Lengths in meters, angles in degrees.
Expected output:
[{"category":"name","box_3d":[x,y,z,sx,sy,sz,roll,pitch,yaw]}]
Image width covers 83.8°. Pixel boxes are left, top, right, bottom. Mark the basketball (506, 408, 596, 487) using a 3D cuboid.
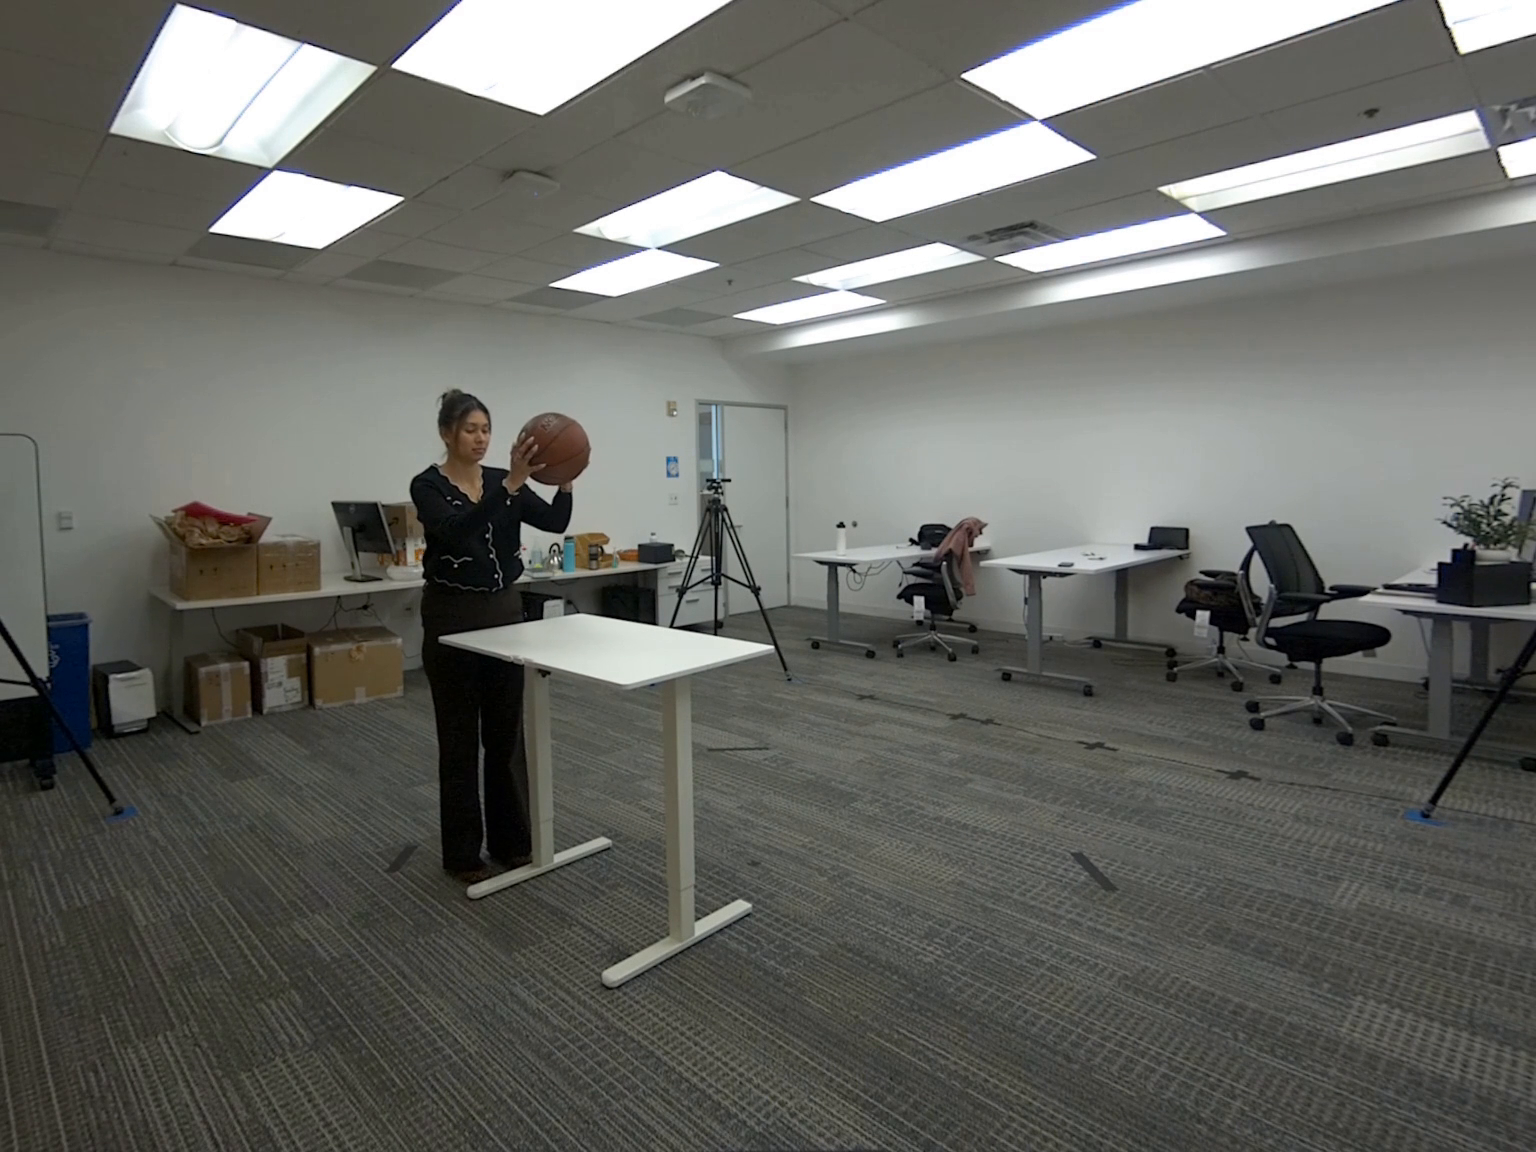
[{"category":"basketball","box_3d":[-0.693,-0.409,2.758,0.236,0.235,0.237,-1,5,-2]}]
